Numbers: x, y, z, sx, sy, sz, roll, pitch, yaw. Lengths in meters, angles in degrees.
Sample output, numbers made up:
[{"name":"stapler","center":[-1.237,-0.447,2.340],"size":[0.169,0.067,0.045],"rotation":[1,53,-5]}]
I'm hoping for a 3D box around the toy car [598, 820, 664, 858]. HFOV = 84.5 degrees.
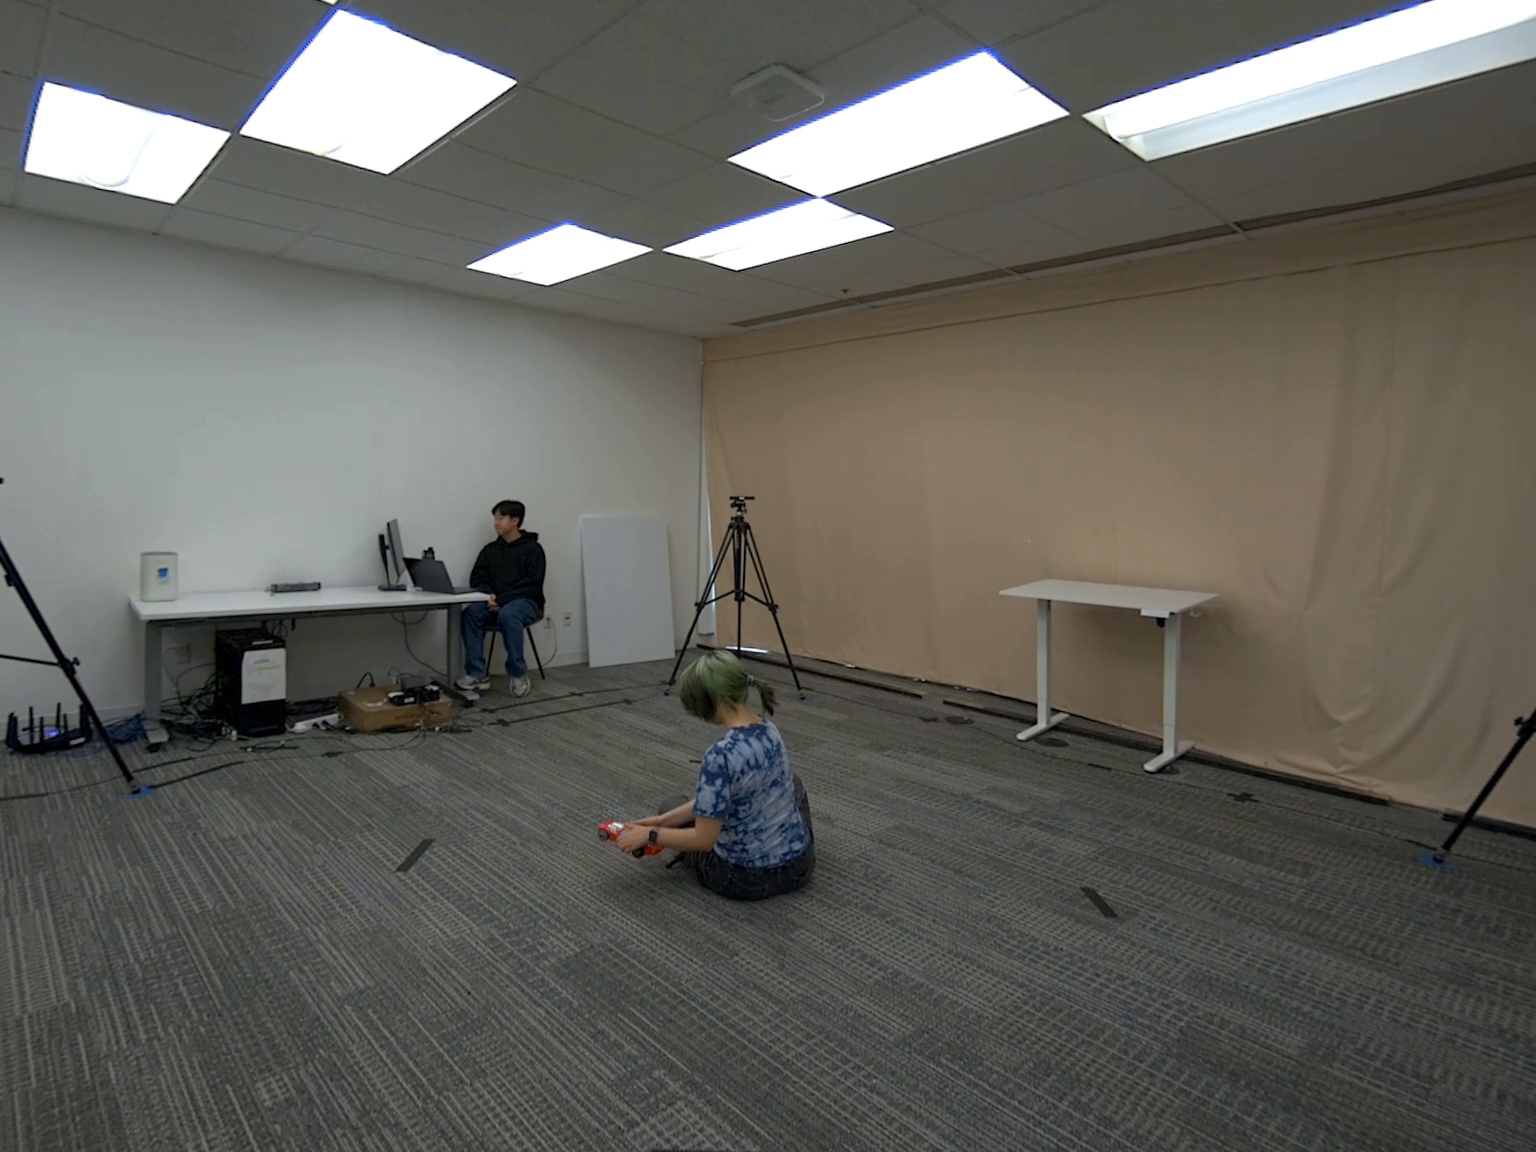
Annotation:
[{"name":"toy car","center":[-0.482,0.942,3.023],"size":[0.259,0.083,0.128],"rotation":[6,-1,20]}]
